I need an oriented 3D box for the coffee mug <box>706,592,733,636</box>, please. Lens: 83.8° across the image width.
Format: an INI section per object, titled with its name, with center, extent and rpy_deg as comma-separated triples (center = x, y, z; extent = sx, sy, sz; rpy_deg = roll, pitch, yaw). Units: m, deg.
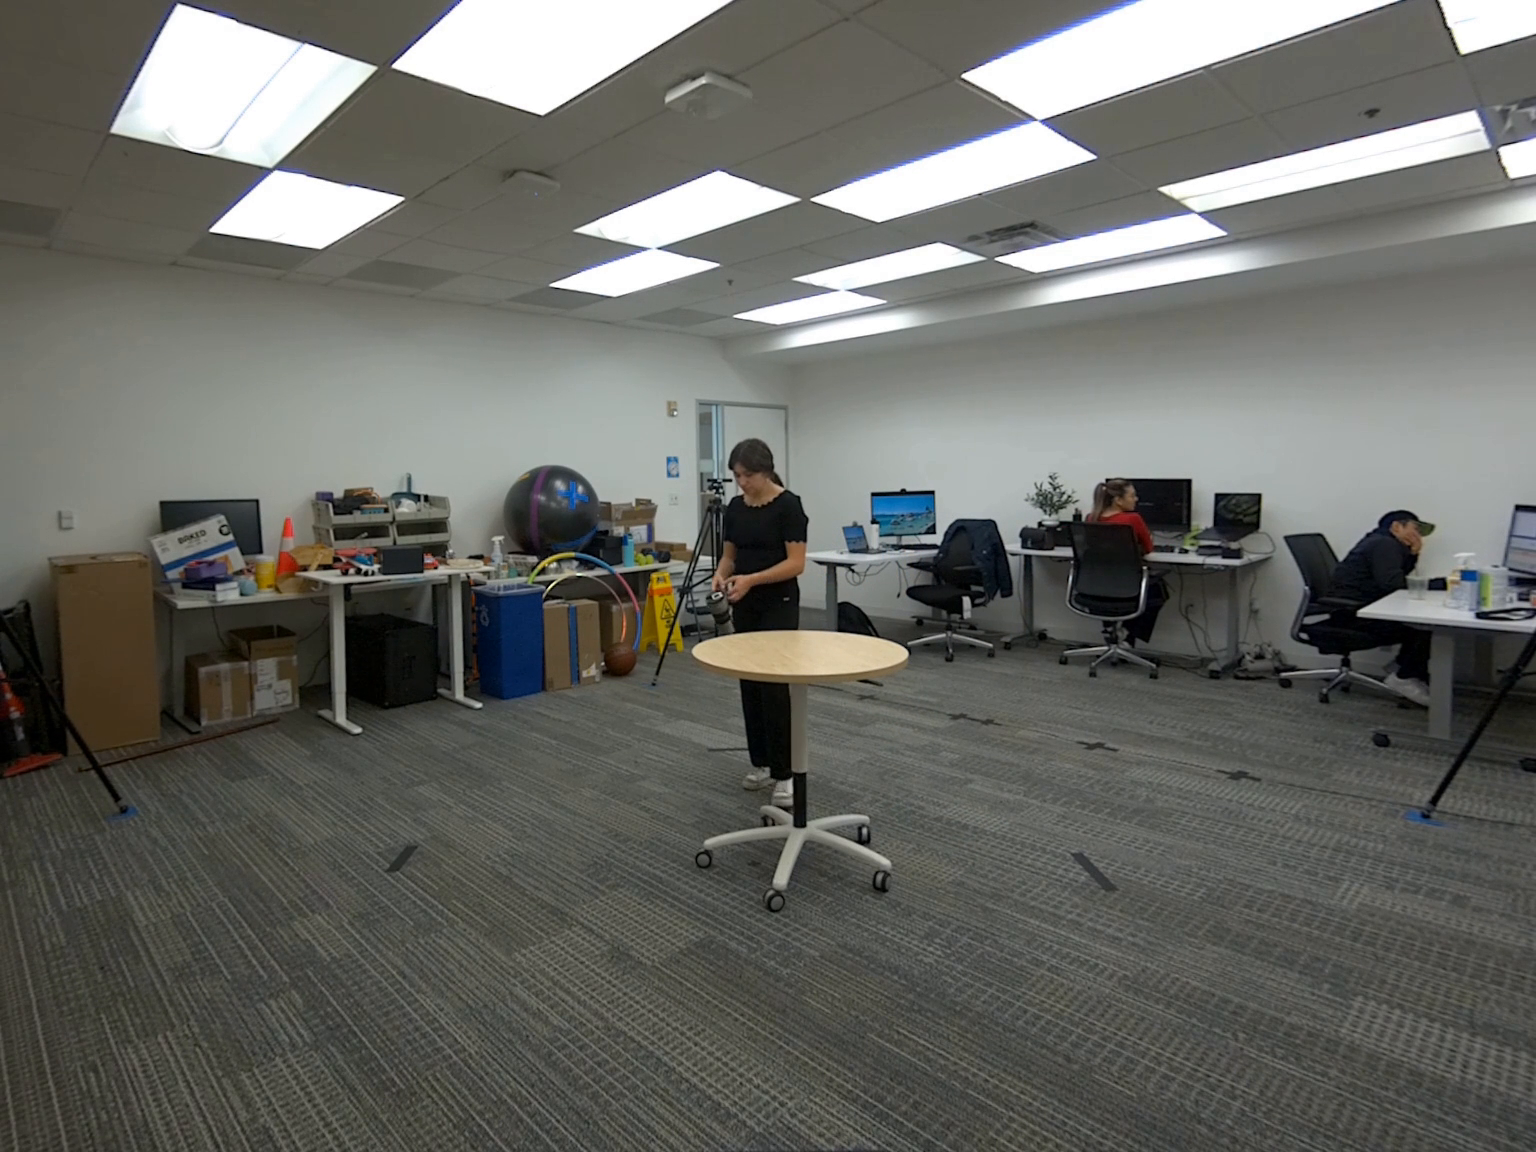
[coffee mug]
center = -0.176, 0.163, 3.665
extent = 0.121, 0.197, 0.091
rpy_deg = -37, 31, -29
